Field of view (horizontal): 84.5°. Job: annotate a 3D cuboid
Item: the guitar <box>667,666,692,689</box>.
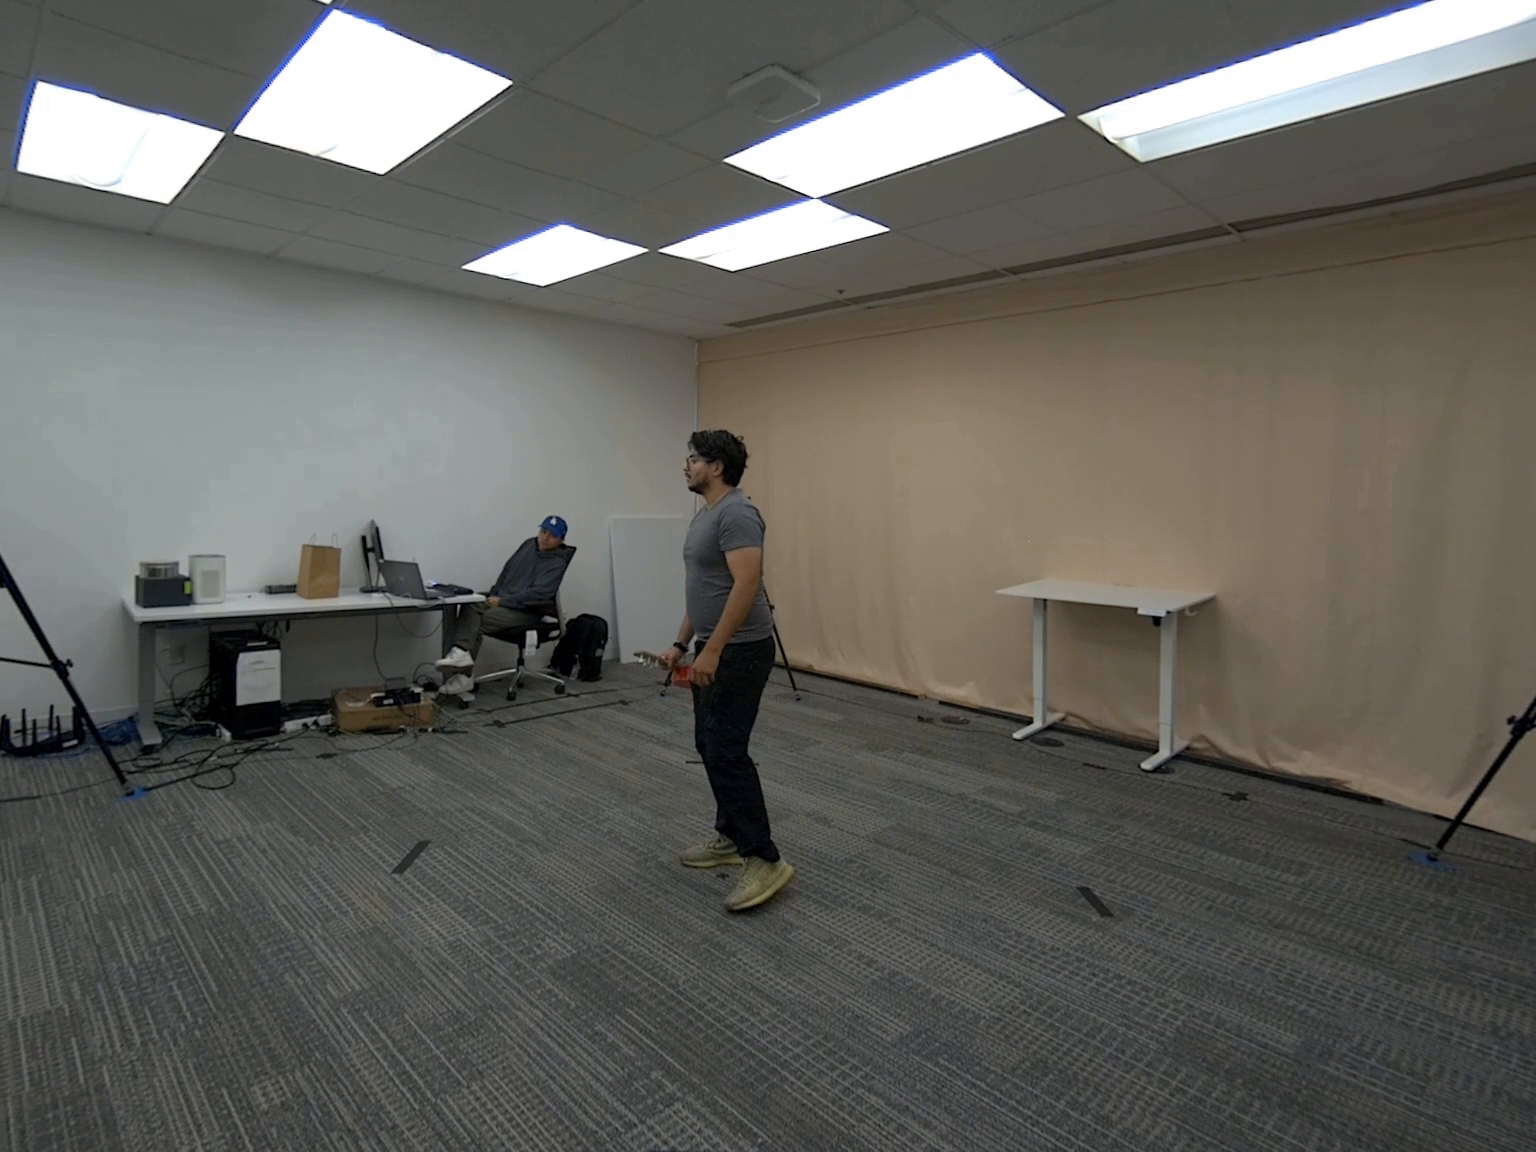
[{"bbox_3d":[-0.368,0.406,3.418,0.484,0.072,0.195,21,-28,-33],"label":"guitar"}]
